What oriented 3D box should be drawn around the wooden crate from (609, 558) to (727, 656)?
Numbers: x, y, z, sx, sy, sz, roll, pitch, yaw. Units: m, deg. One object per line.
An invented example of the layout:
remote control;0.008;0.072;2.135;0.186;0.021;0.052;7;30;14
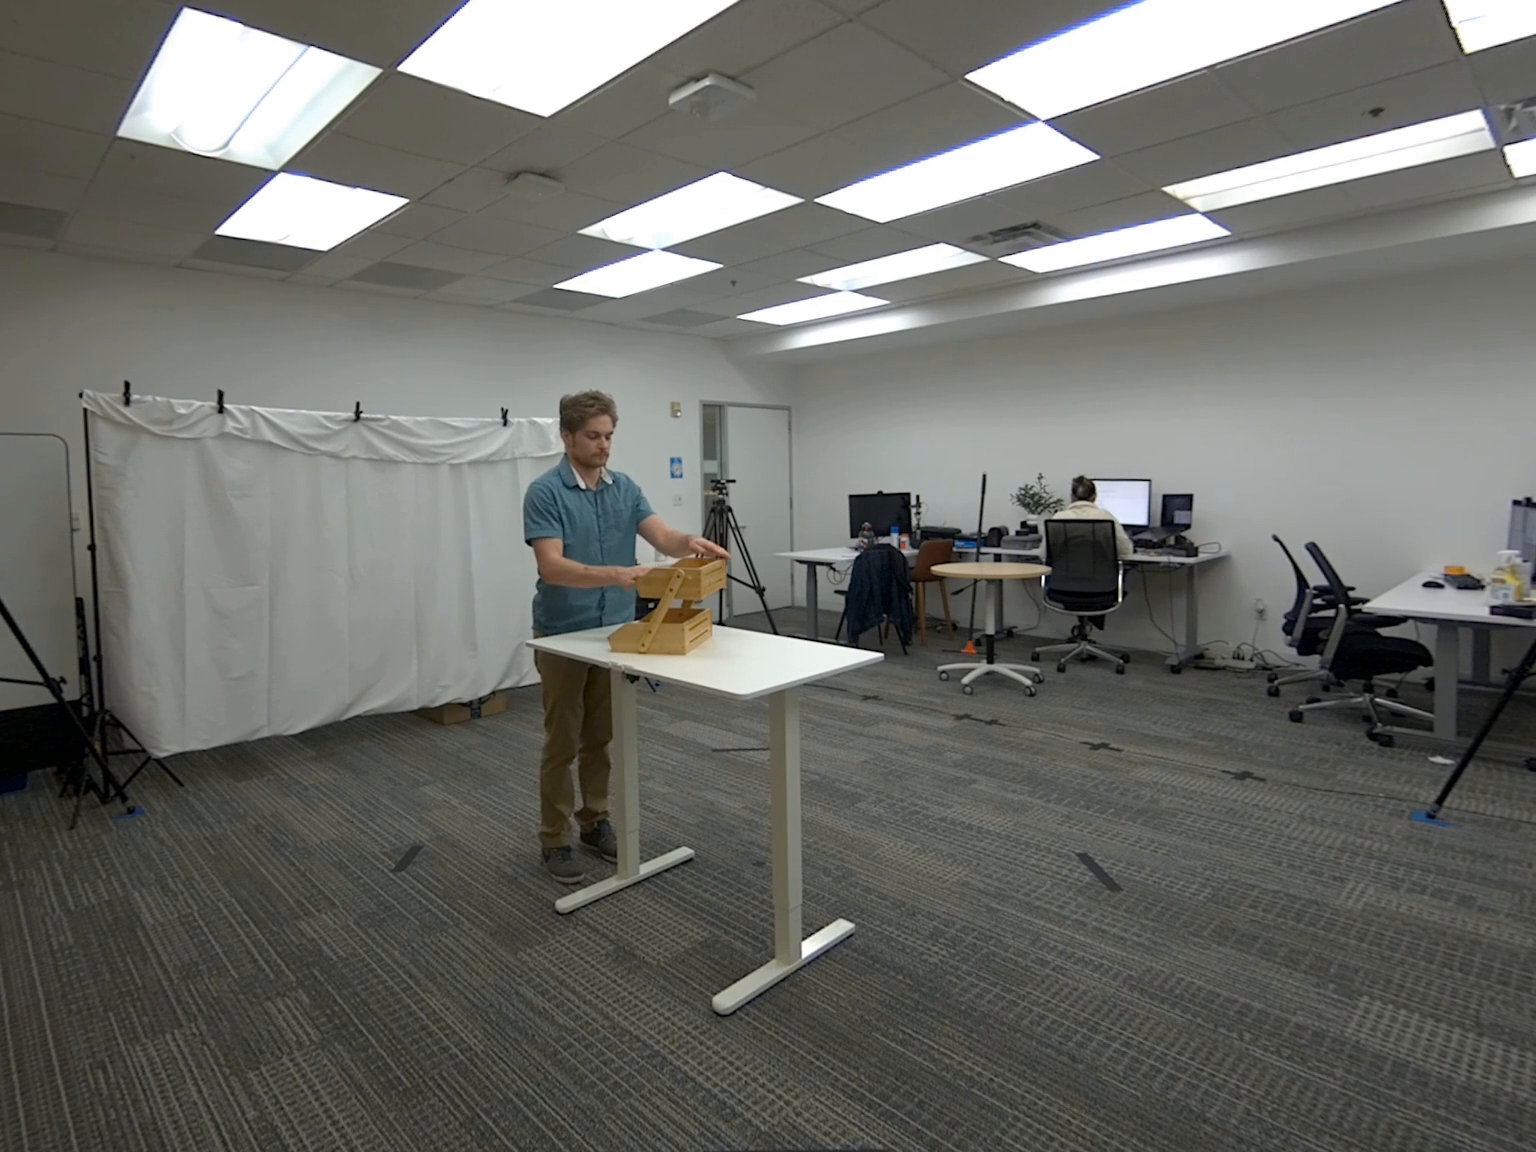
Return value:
wooden crate;-0.310;0.092;2.694;0.305;0.271;0.323;0;8;9
